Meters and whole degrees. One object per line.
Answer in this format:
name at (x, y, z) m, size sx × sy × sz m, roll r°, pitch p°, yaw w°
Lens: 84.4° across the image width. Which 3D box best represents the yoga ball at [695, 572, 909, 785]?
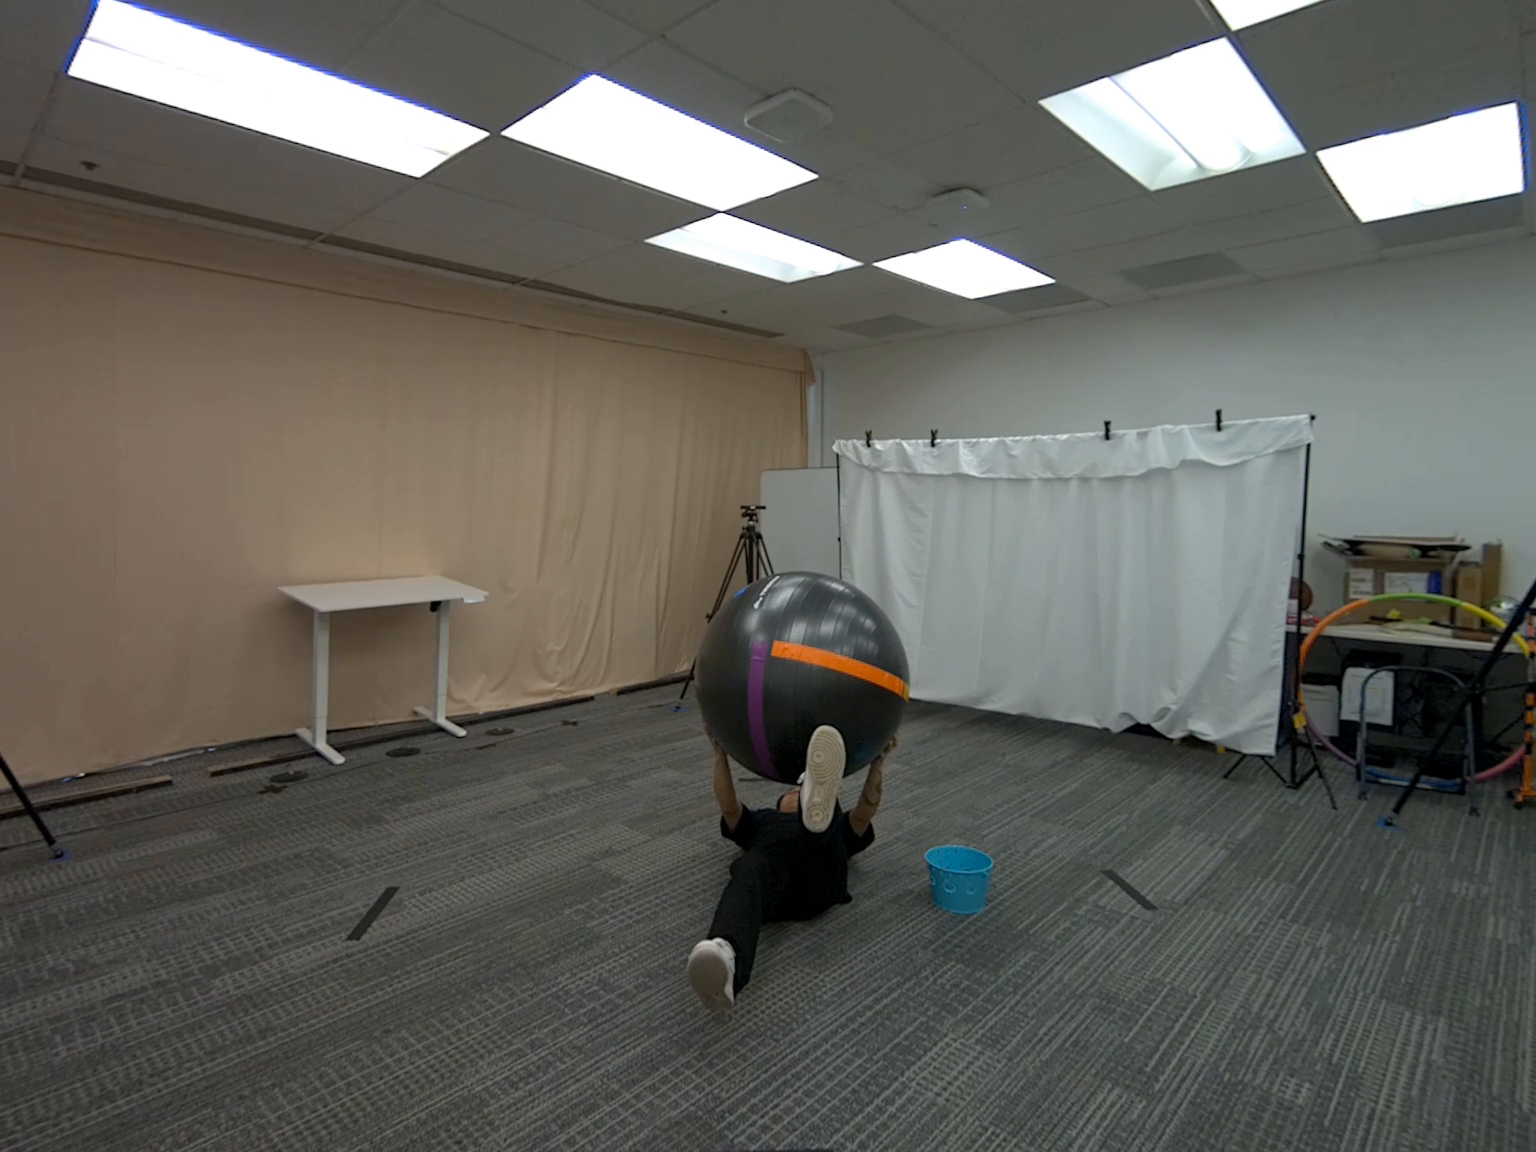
yoga ball at (0.118, 0.370, 3.035) m, size 0.757 × 0.756 × 0.760 m, roll 0°, pitch 4°, yaw -2°
